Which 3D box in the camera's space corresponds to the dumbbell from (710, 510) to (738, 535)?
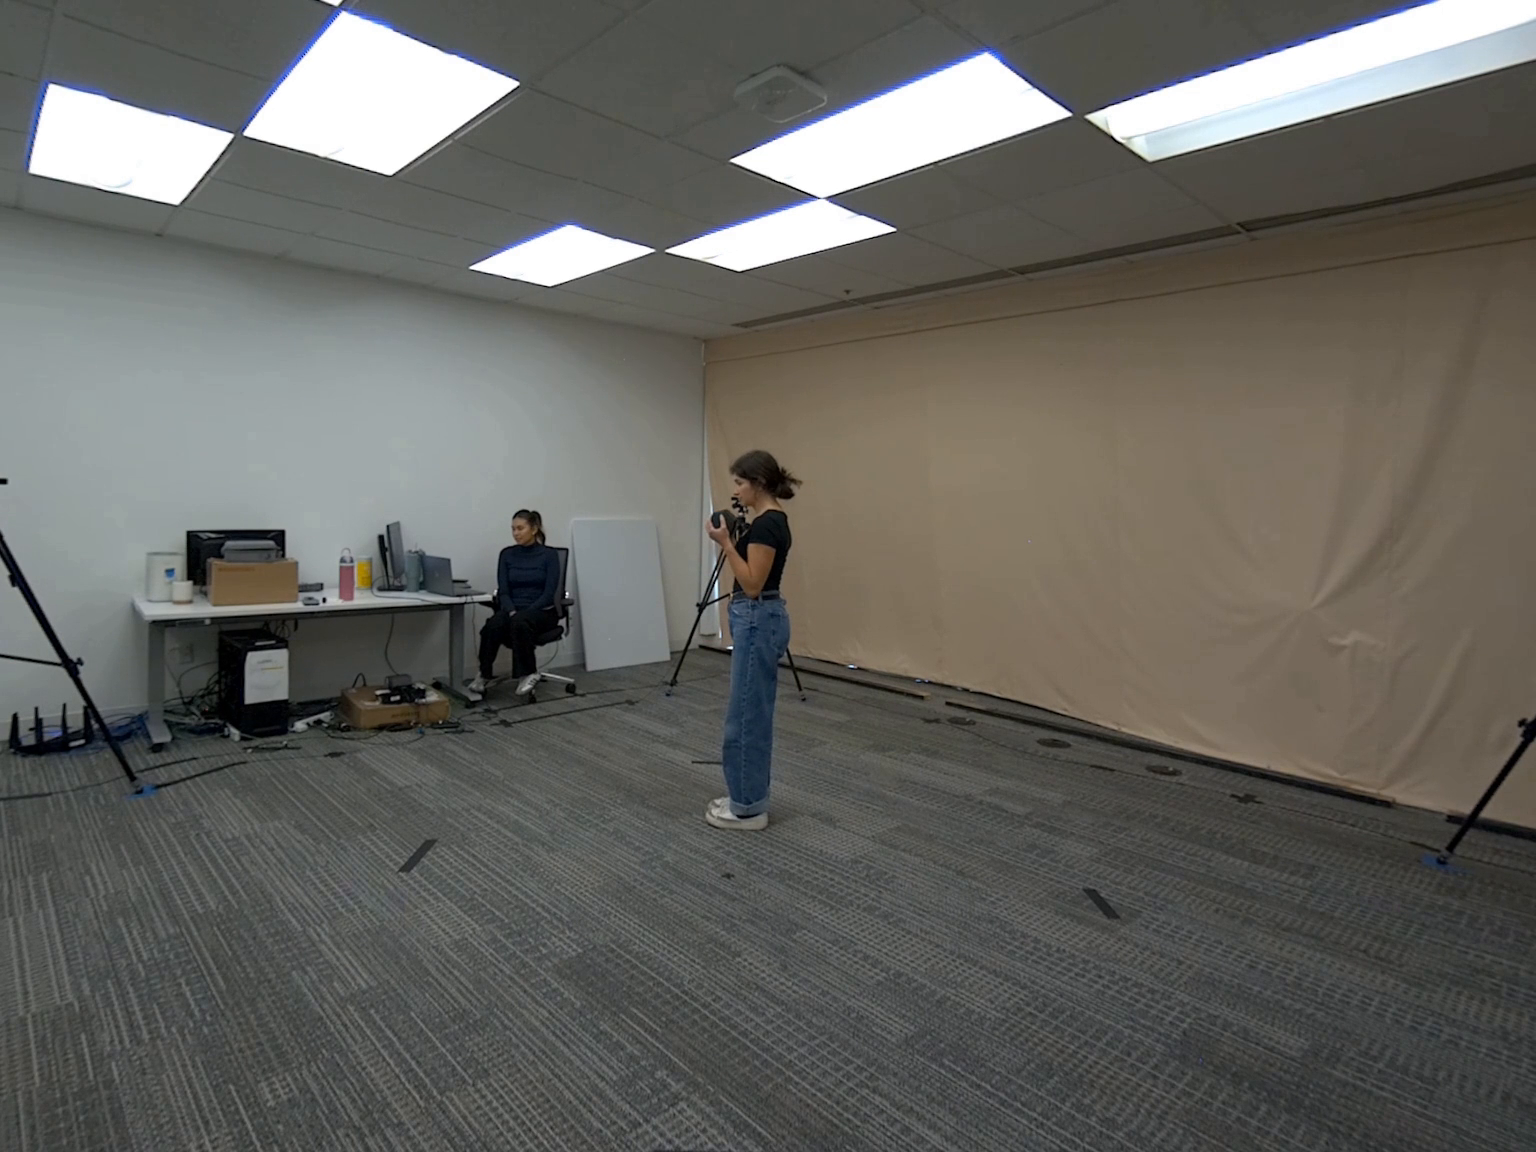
[{"bbox_3d":[-0.181,-0.227,3.611,0.109,0.123,0.293,14,4,1],"label":"dumbbell"}]
